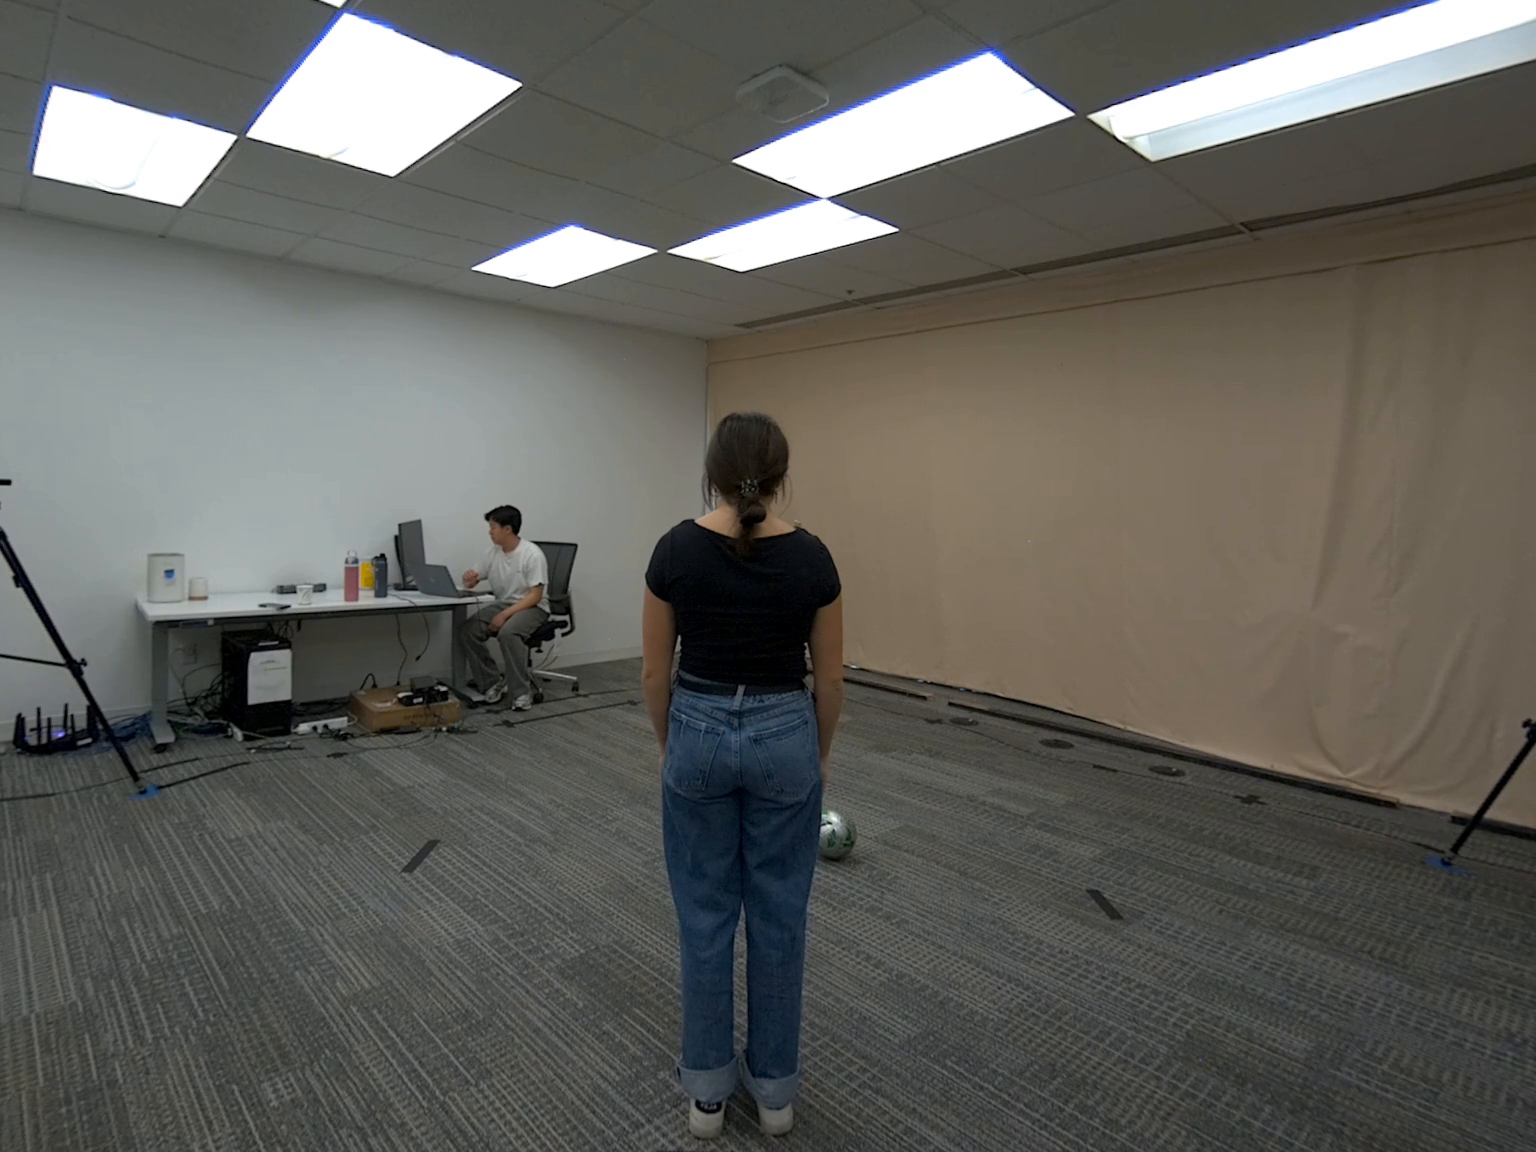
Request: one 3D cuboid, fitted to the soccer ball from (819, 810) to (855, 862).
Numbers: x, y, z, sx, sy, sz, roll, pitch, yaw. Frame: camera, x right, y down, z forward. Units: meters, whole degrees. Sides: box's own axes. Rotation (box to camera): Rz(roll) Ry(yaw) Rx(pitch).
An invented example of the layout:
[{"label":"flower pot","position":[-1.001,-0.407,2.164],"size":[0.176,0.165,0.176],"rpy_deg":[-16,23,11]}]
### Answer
[{"label":"soccer ball","position":[0.243,1.011,3.287],"size":[0.187,0.187,0.188],"rpy_deg":[1,4,-1]}]
